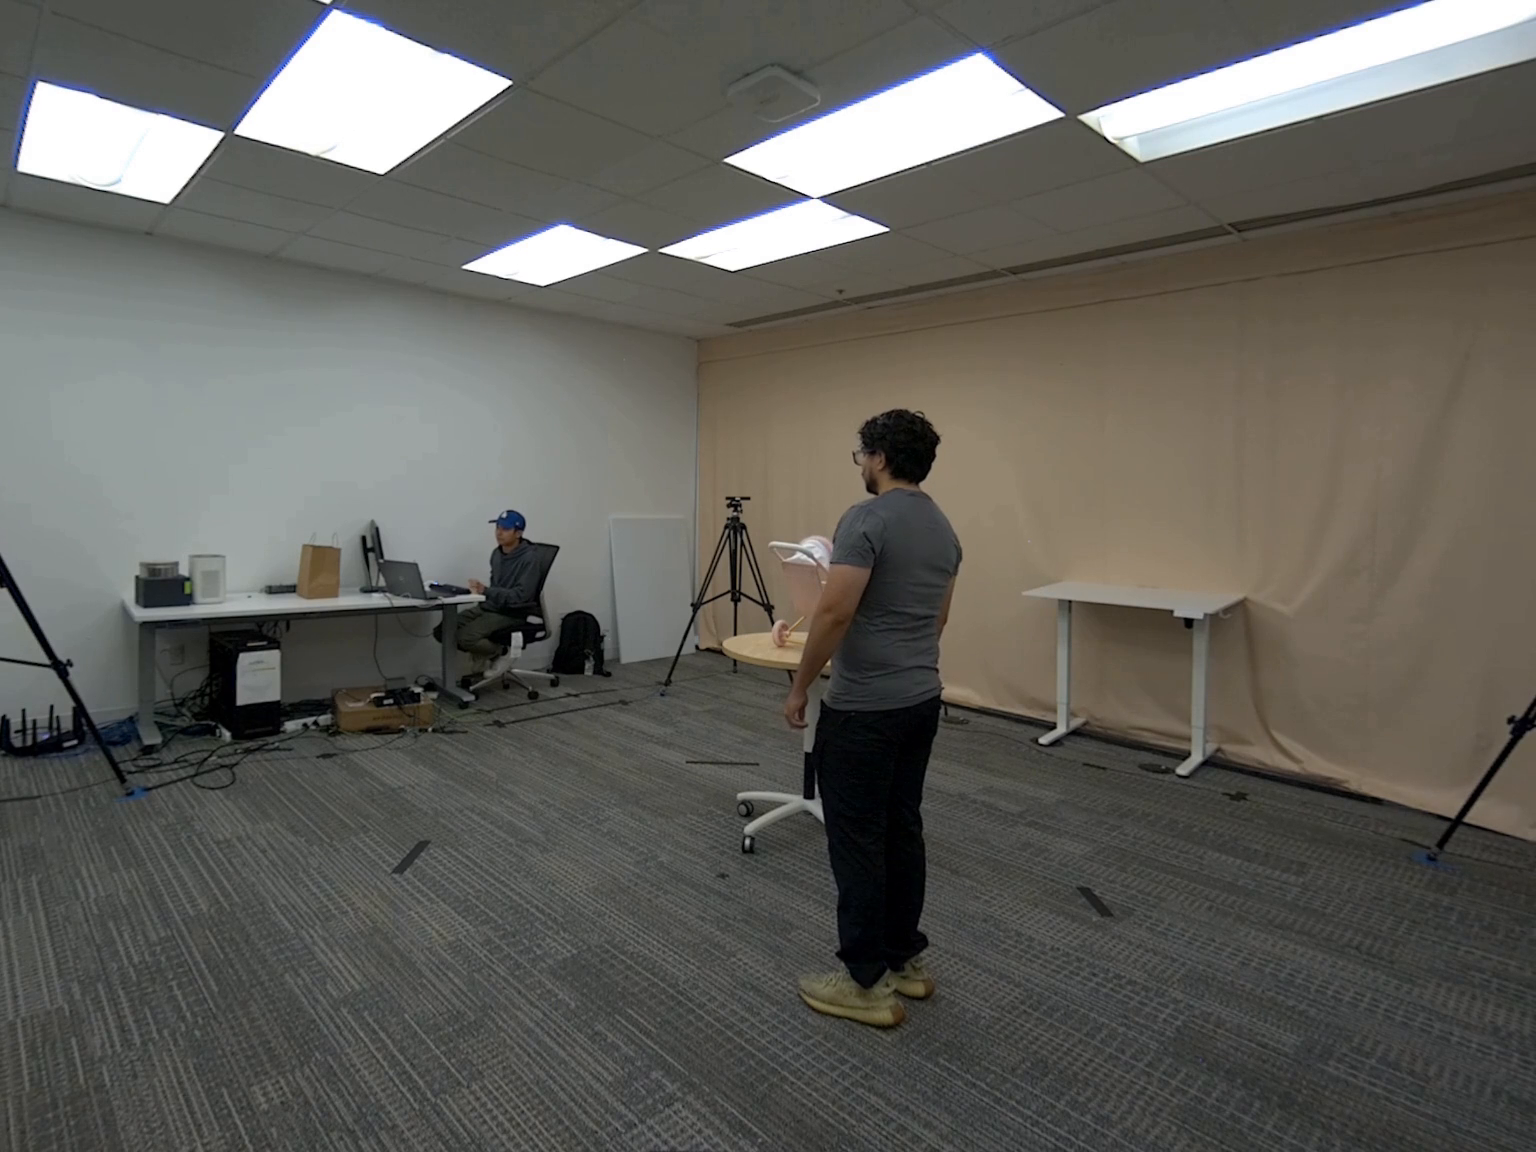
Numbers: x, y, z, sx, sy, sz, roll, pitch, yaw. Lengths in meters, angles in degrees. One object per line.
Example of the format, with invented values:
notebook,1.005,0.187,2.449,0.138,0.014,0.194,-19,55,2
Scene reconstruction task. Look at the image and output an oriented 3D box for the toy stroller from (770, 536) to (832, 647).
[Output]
toy stroller,0.193,0.079,3.446,0.289,0.528,0.336,7,21,43
